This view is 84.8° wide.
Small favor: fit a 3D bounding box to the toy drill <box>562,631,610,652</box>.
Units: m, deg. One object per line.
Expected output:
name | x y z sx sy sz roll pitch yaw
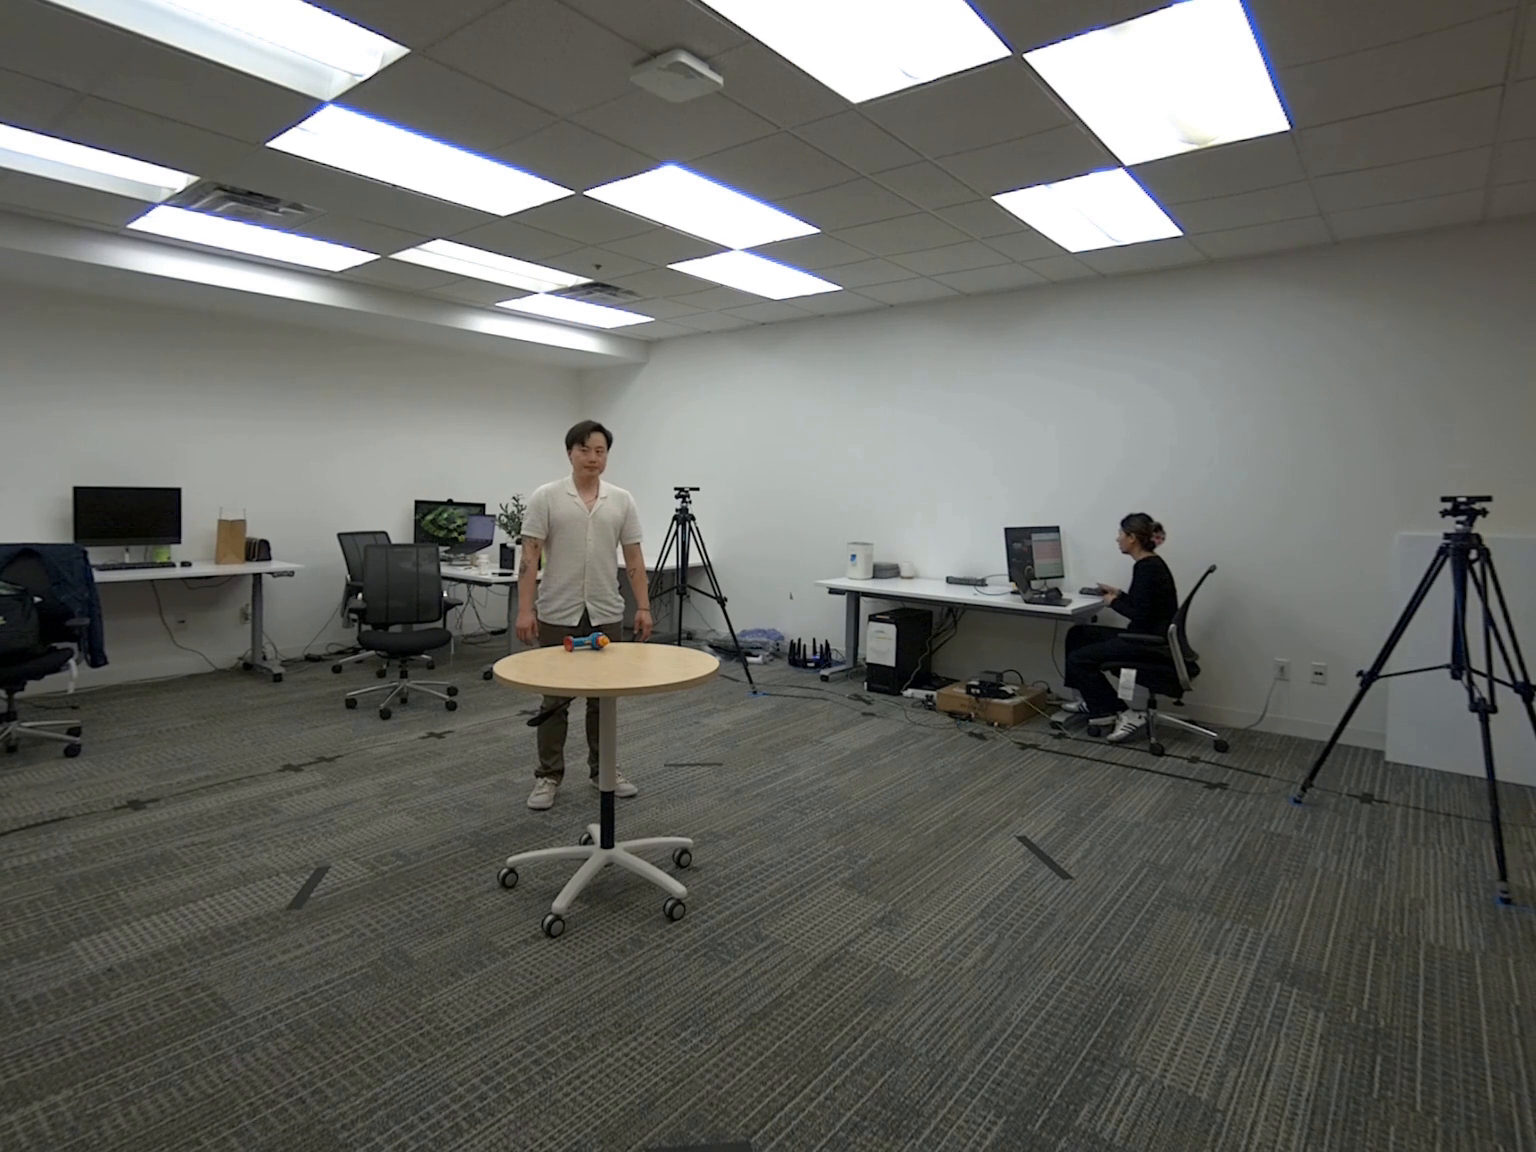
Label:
toy drill | -0.668 0.243 3.145 0.143 0.061 0.174 -6 2 -26
